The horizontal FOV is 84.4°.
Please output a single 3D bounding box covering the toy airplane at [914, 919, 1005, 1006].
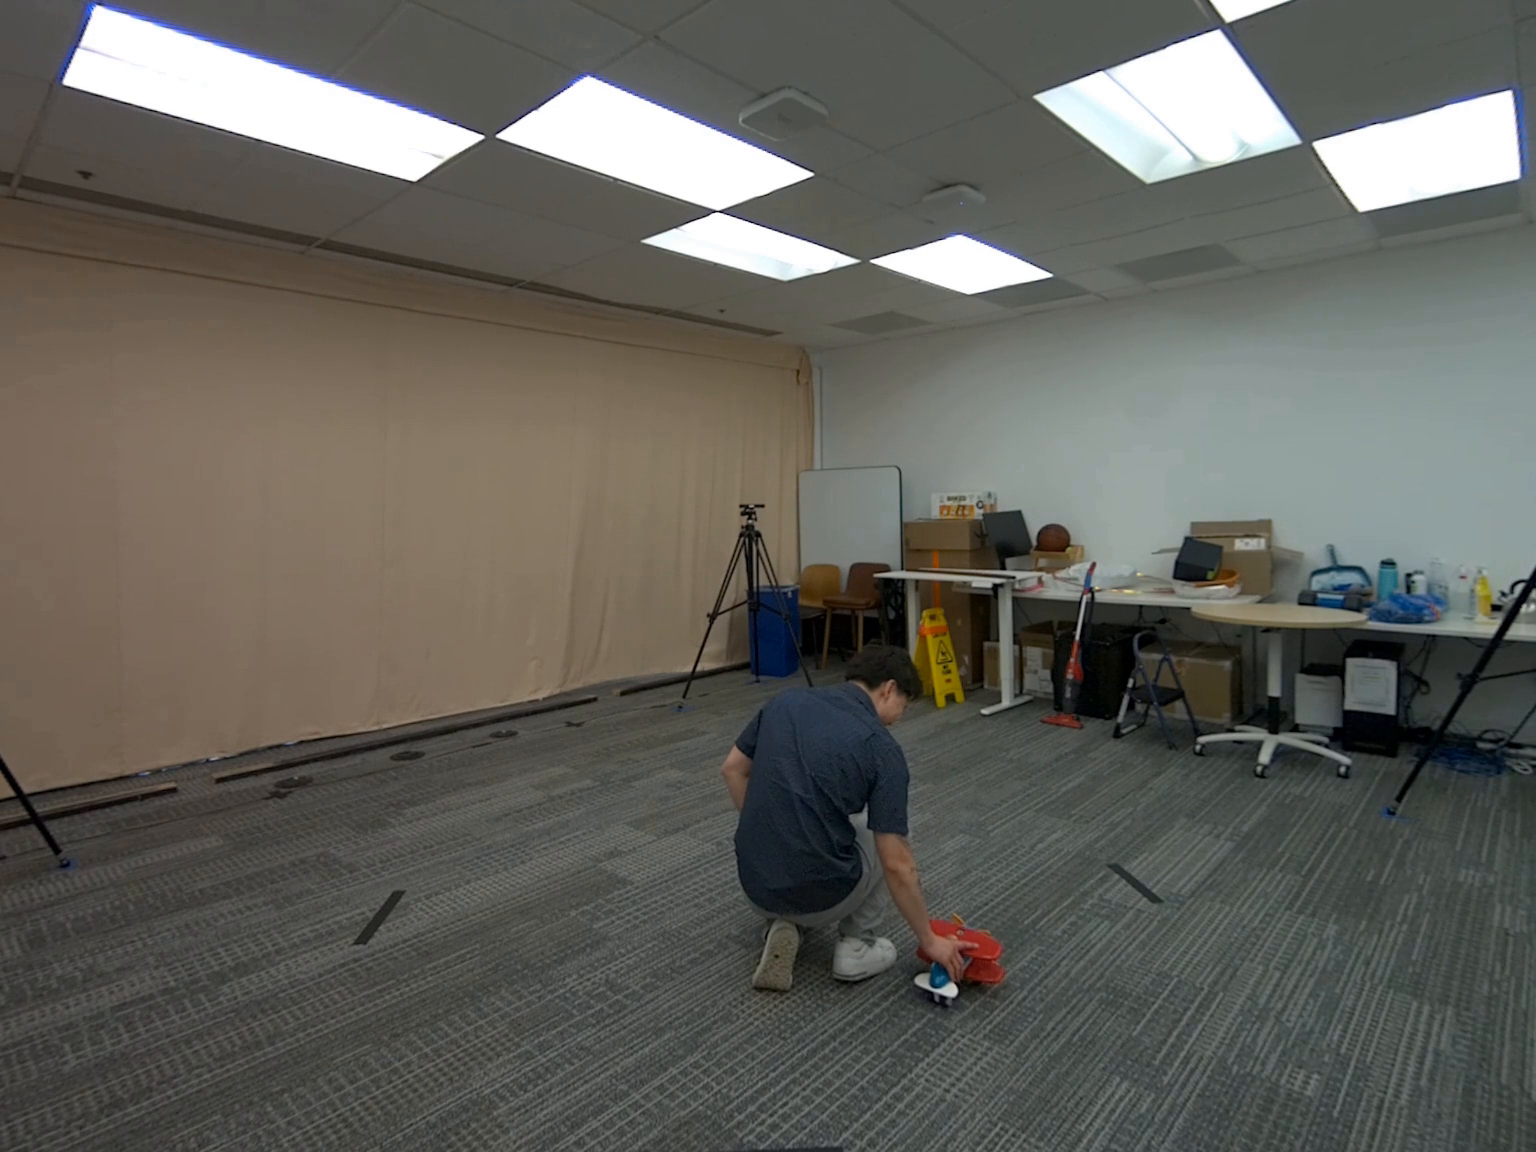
[{"bbox_3d":[0.553,1.111,2.382,0.254,0.156,0.256,1,4,11],"label":"toy airplane"}]
